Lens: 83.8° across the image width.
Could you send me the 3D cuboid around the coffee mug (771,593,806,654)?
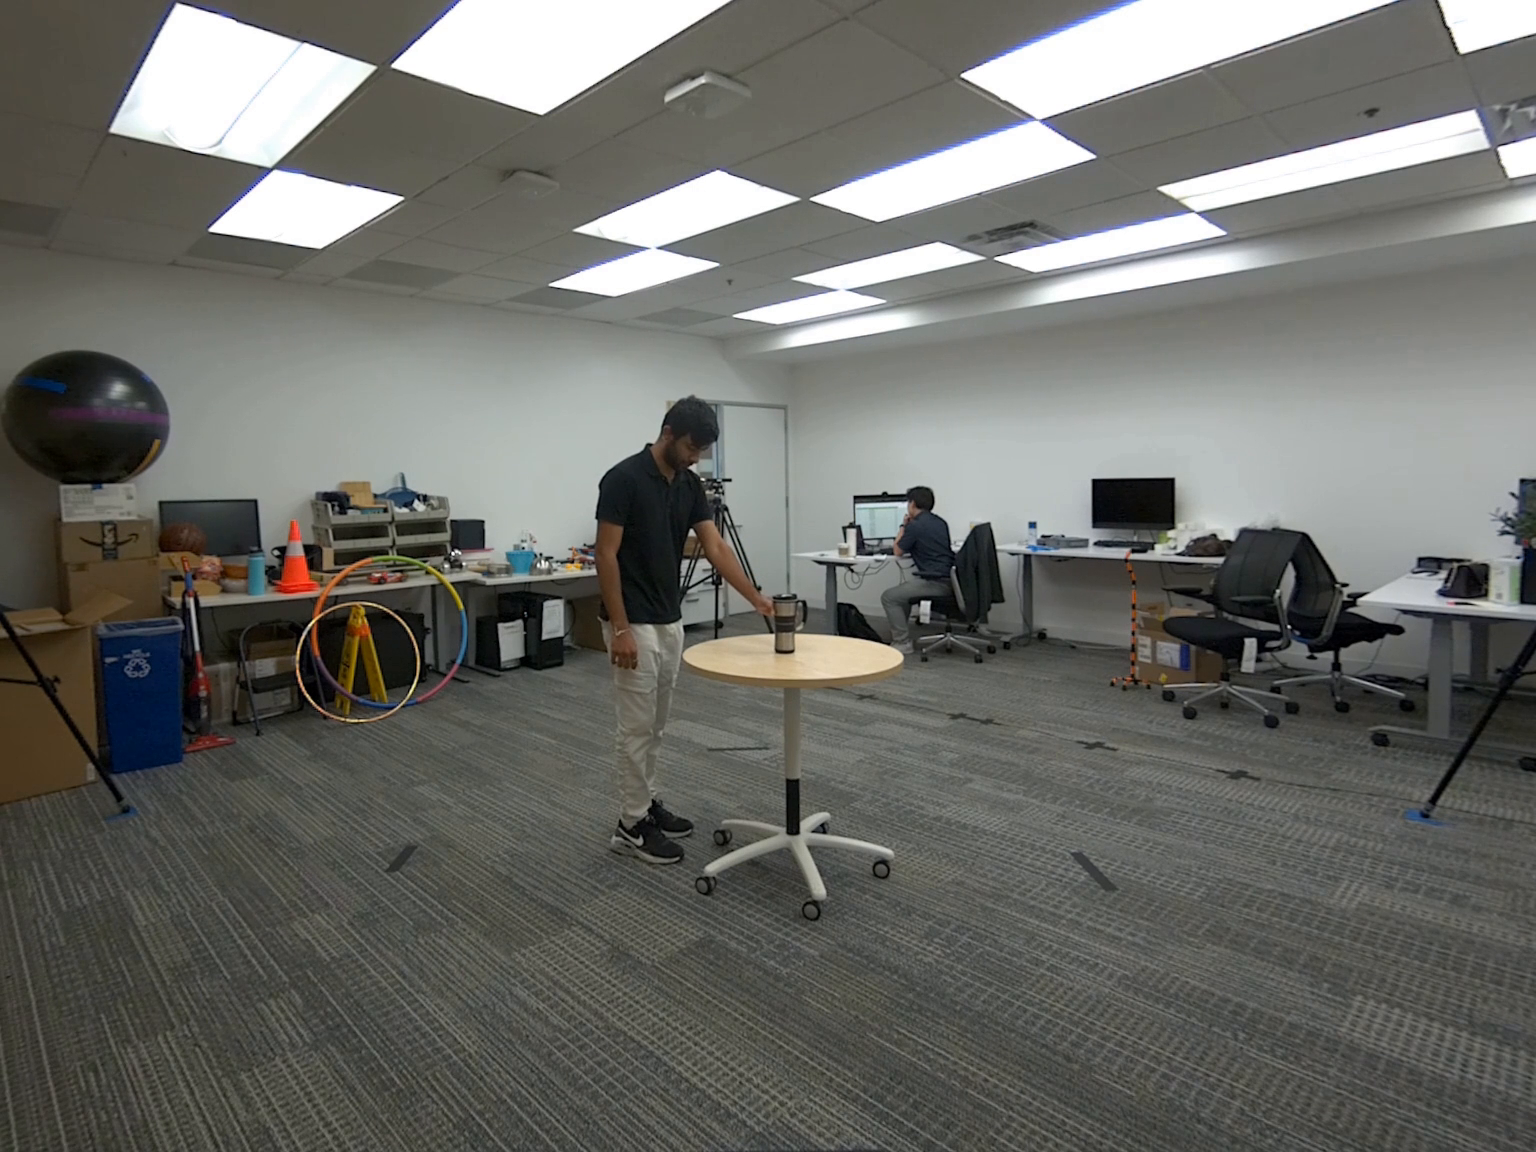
[{"bbox_3d":[0.070,0.168,2.998,0.123,0.202,0.087,-3,3,11],"label":"coffee mug"}]
